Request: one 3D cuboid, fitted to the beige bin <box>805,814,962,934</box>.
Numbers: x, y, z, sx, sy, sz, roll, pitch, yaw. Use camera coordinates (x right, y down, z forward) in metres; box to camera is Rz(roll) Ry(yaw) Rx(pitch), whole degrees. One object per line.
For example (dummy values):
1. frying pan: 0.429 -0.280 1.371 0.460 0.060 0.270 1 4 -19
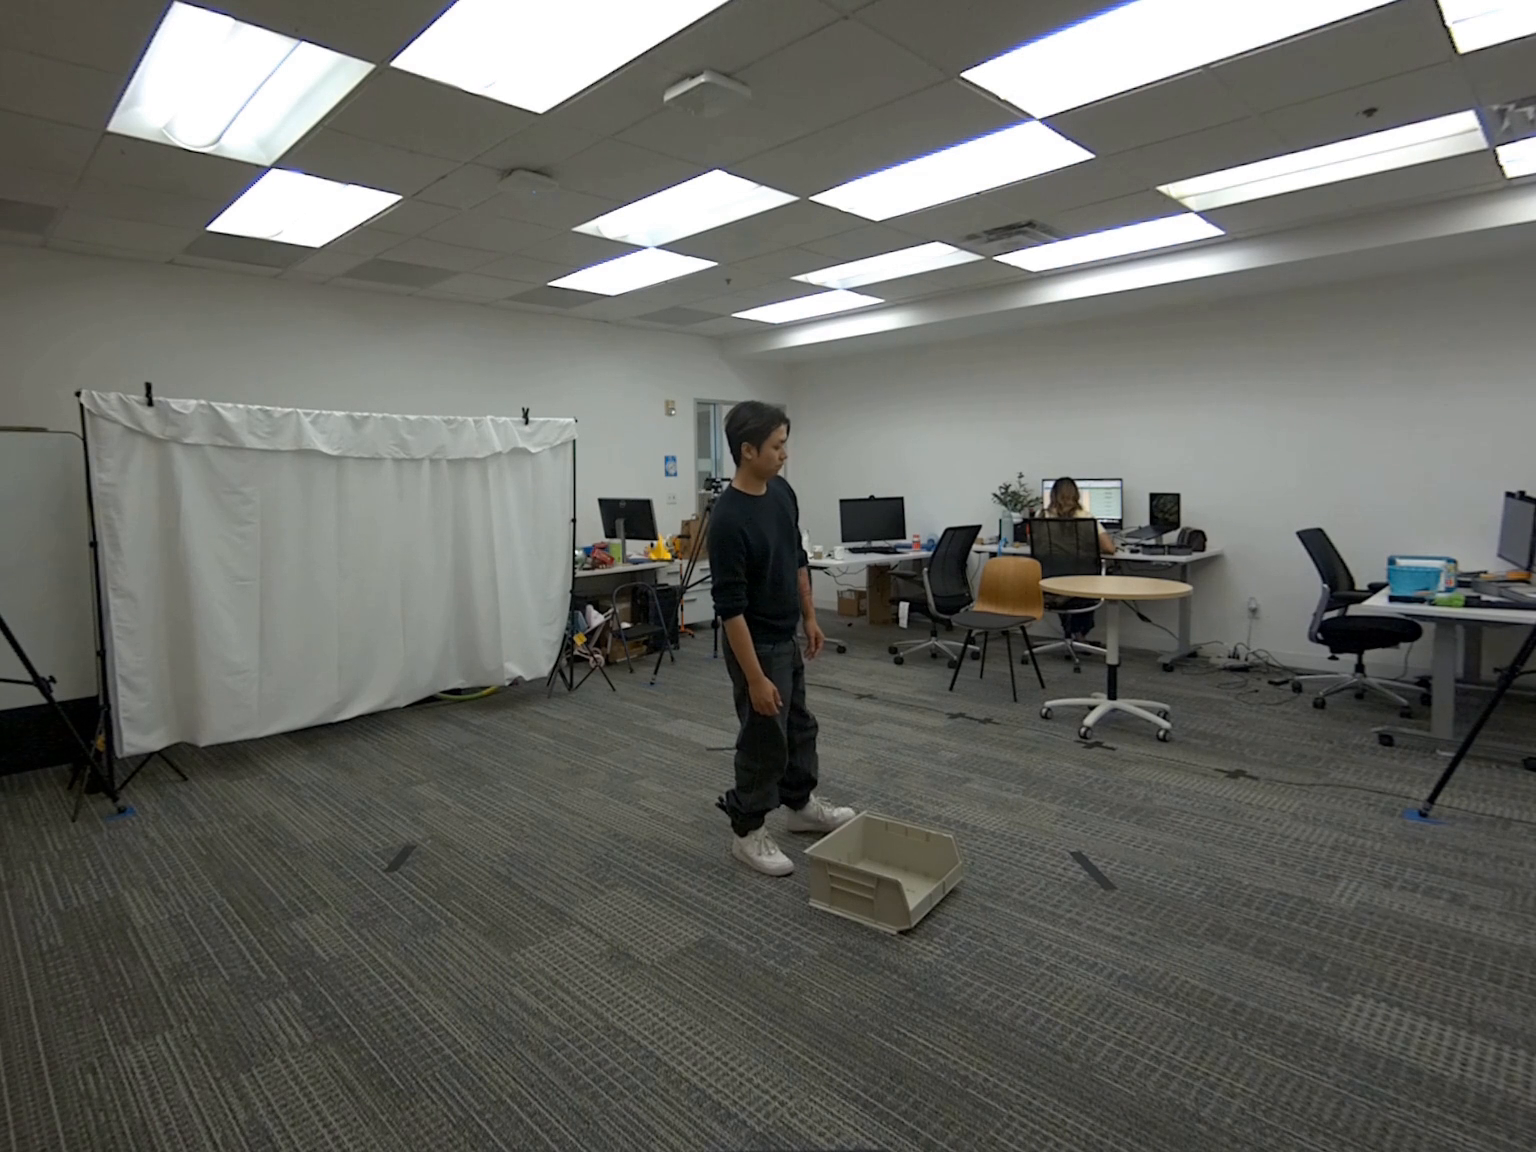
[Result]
1. beige bin: 0.393 0.978 2.836 0.388 0.188 0.412 2 7 36
